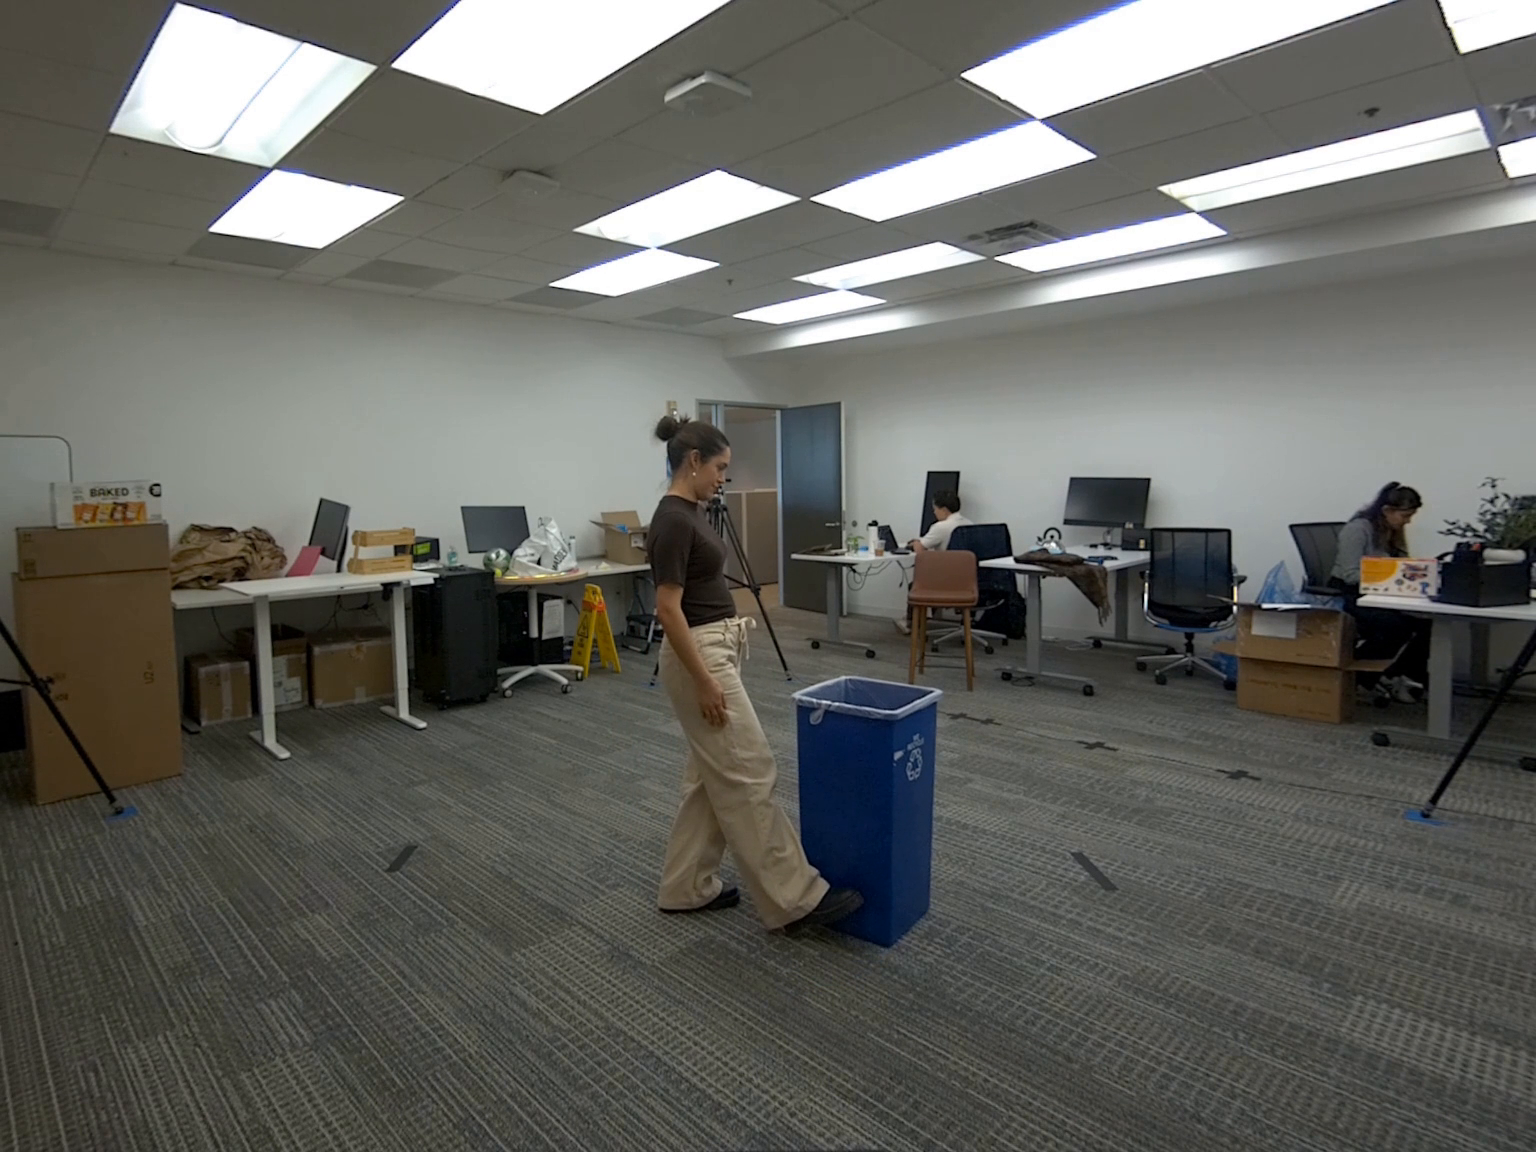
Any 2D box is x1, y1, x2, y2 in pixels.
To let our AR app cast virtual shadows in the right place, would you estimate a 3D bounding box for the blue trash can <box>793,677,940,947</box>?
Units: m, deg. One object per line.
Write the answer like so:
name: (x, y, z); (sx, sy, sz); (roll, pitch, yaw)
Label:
blue trash can: (0.324, 0.720, 2.714); (0.385, 0.712, 0.368); (1, 4, 36)
